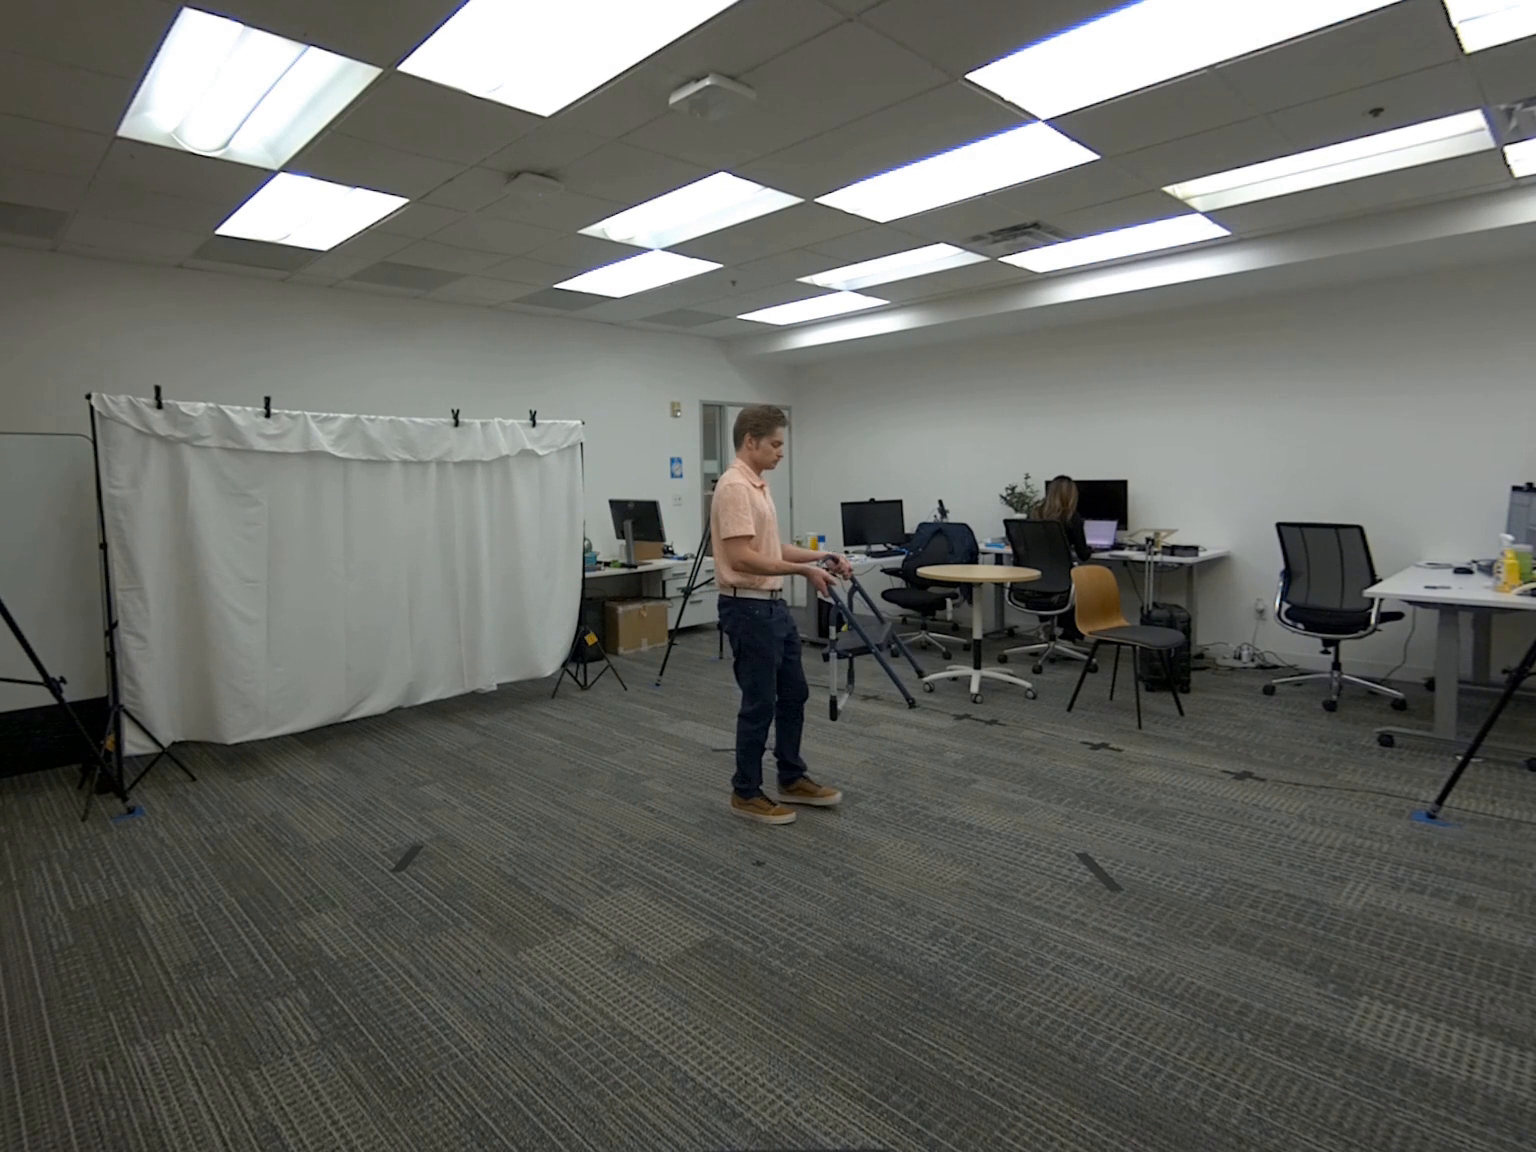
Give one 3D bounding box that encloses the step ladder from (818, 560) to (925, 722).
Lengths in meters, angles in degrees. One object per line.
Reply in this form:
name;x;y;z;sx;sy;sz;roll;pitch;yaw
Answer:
step ladder;0.358;0.206;3.417;0.353;0.604;0.427;-15;3;17
